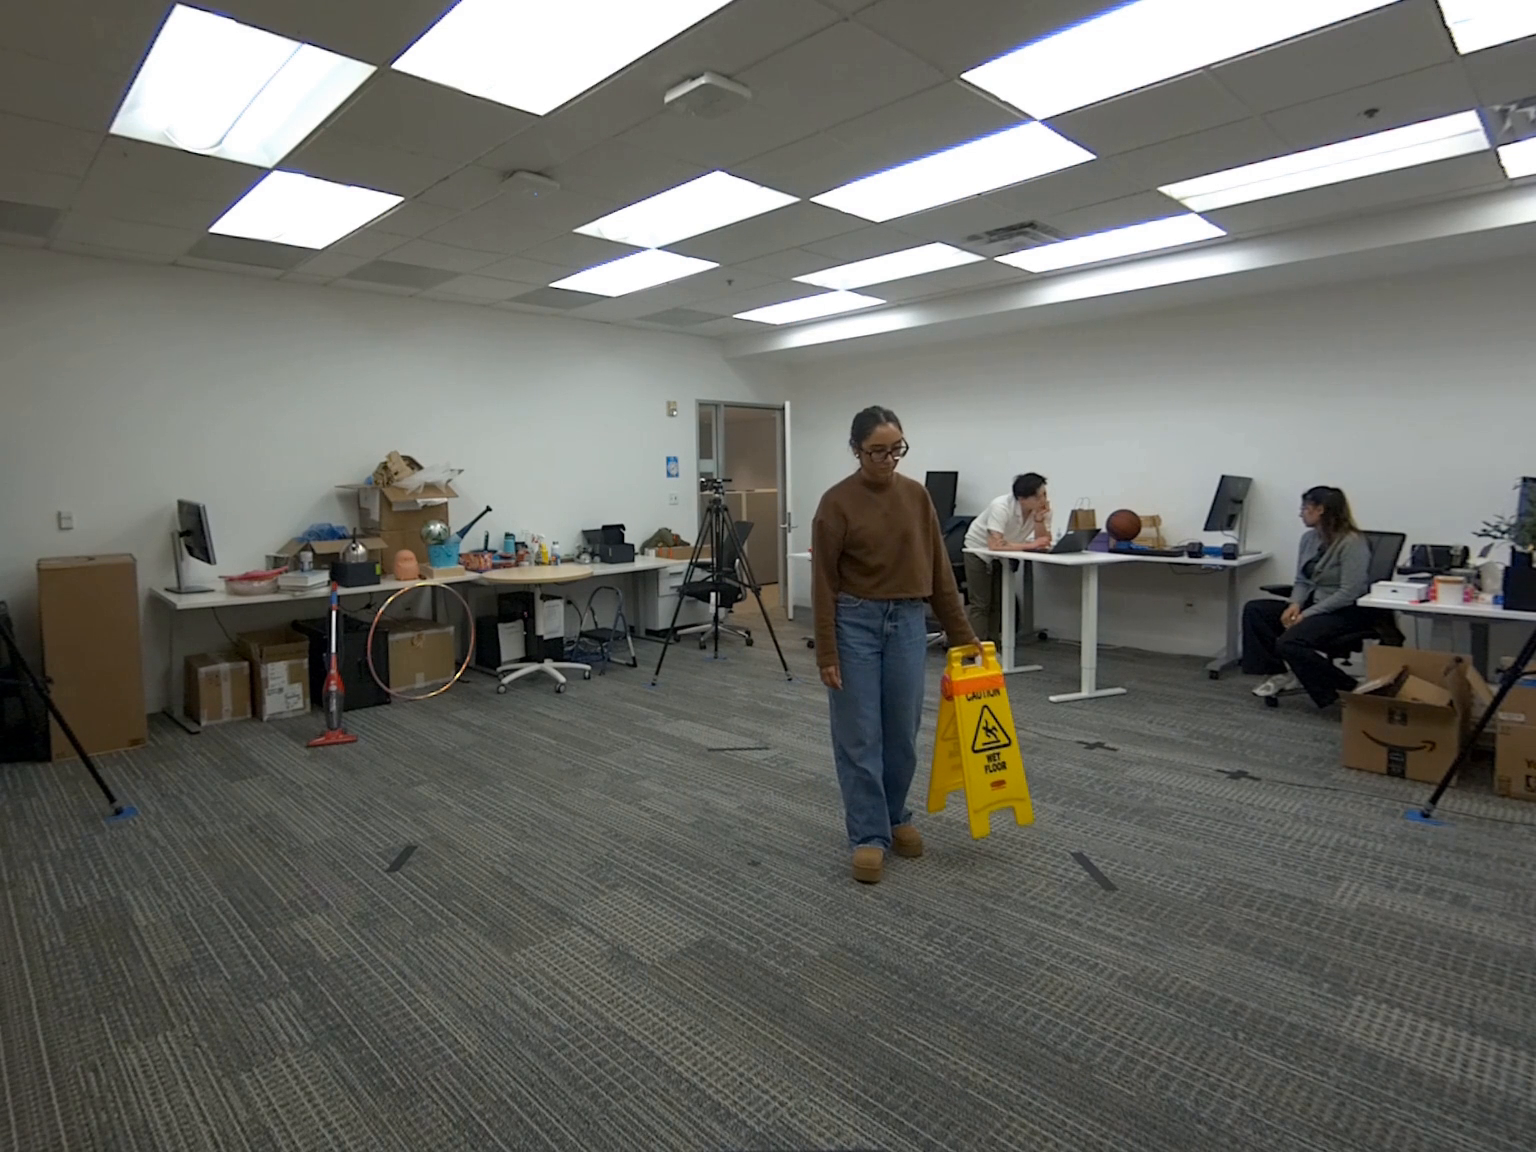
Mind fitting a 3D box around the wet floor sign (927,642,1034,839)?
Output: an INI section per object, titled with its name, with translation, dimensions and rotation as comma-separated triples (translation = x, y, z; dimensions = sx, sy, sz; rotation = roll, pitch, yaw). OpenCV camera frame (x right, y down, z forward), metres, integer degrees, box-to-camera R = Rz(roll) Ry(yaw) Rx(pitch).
[wet floor sign]
translation = 0.756, 0.570, 3.141
dimensions = 0.277, 0.644, 0.296
rotation = -4, 4, -24
